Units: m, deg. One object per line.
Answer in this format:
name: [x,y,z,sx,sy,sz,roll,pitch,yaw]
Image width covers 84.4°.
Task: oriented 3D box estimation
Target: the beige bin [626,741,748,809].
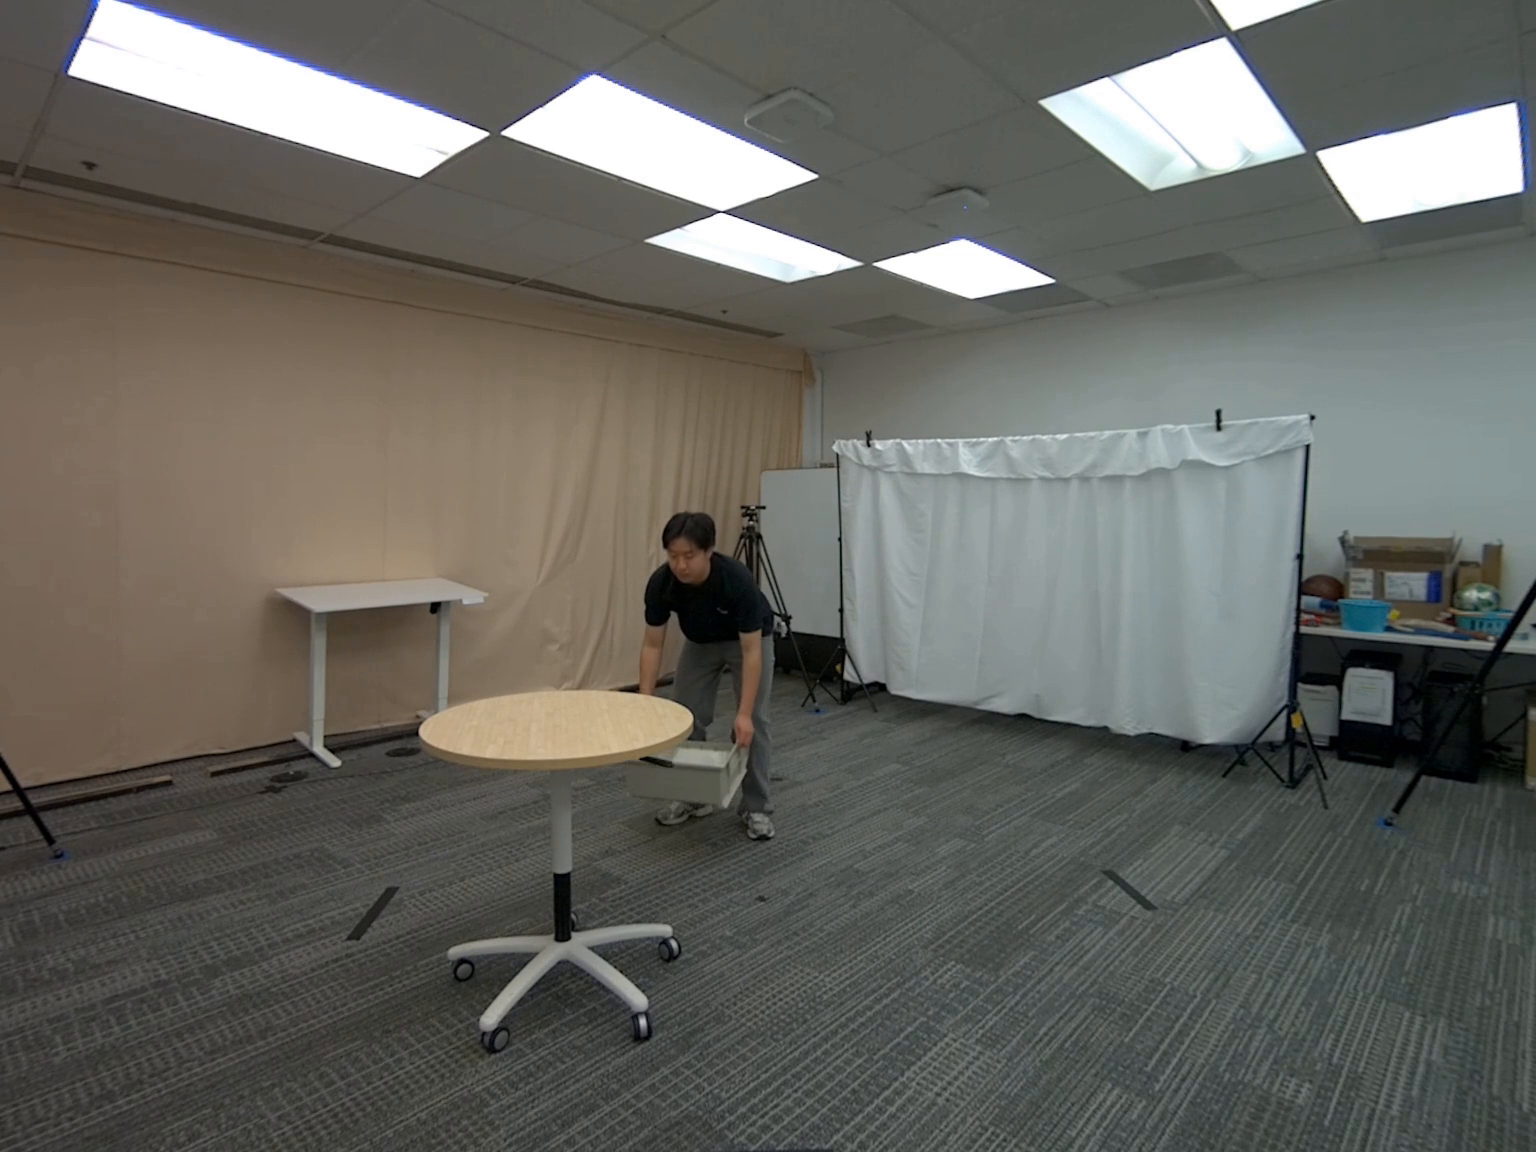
beige bin: [-0.319,0.742,3.386,0.429,0.187,0.374,1,13,14]
